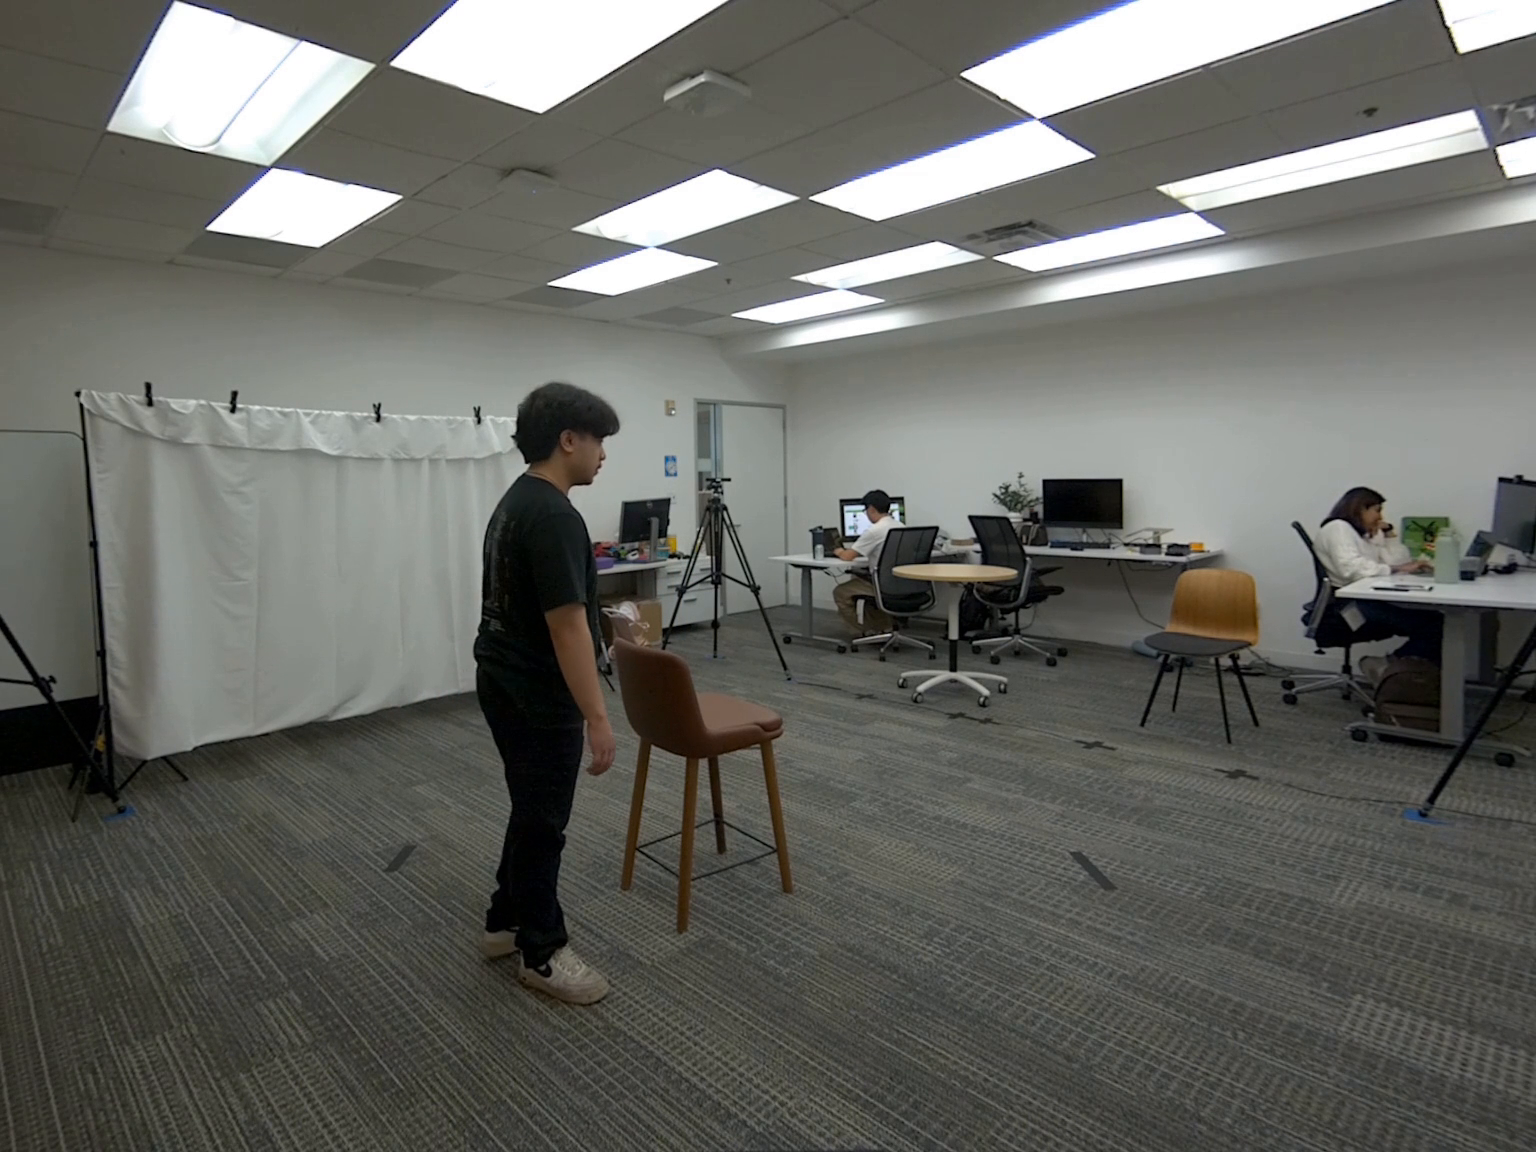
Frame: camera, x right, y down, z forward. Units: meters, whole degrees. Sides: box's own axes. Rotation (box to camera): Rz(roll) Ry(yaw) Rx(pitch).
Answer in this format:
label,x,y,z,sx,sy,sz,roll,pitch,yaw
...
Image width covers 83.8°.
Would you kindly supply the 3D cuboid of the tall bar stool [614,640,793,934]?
label,x,y,z,sx,sy,sz,roll,pitch,yaw
tall bar stool,-0.226,0.636,2.883,0.456,0.885,0.470,-7,7,-37
